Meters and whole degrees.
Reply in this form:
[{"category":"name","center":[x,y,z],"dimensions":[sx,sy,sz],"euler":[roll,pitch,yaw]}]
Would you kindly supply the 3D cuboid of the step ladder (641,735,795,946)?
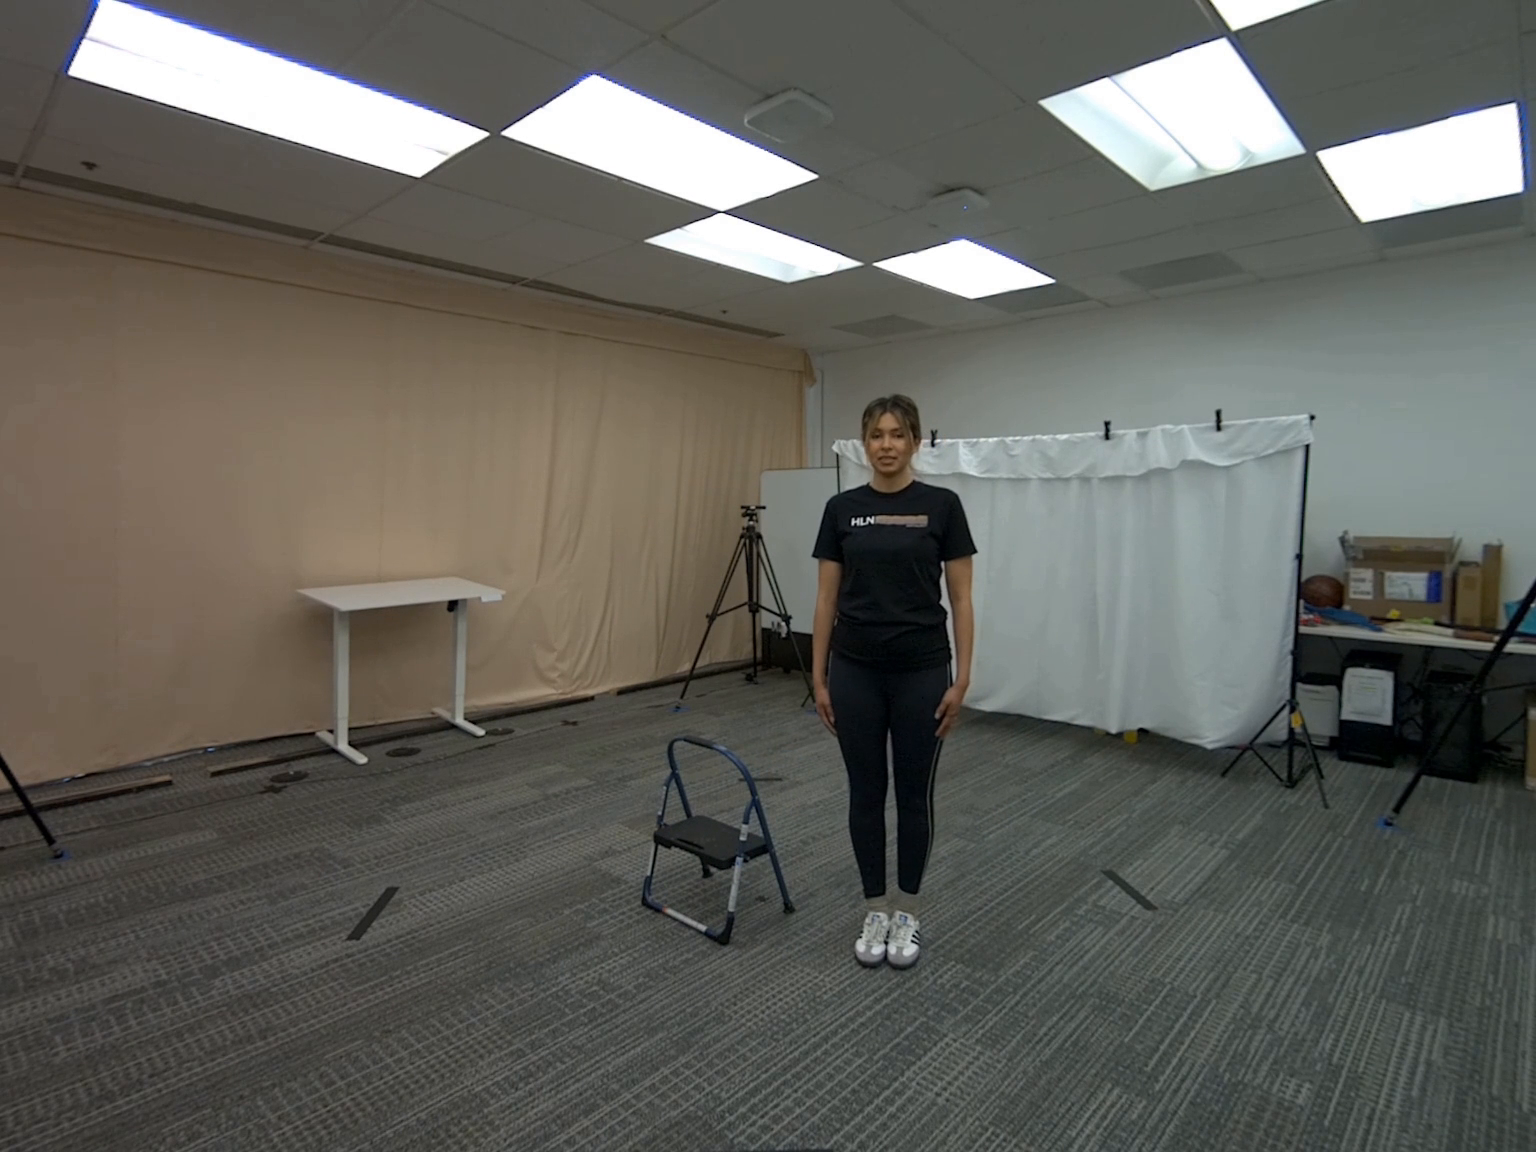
[{"category":"step ladder","center":[-0.180,0.847,2.908],"dimensions":[0.445,0.605,0.338],"euler":[3,4,42]}]
